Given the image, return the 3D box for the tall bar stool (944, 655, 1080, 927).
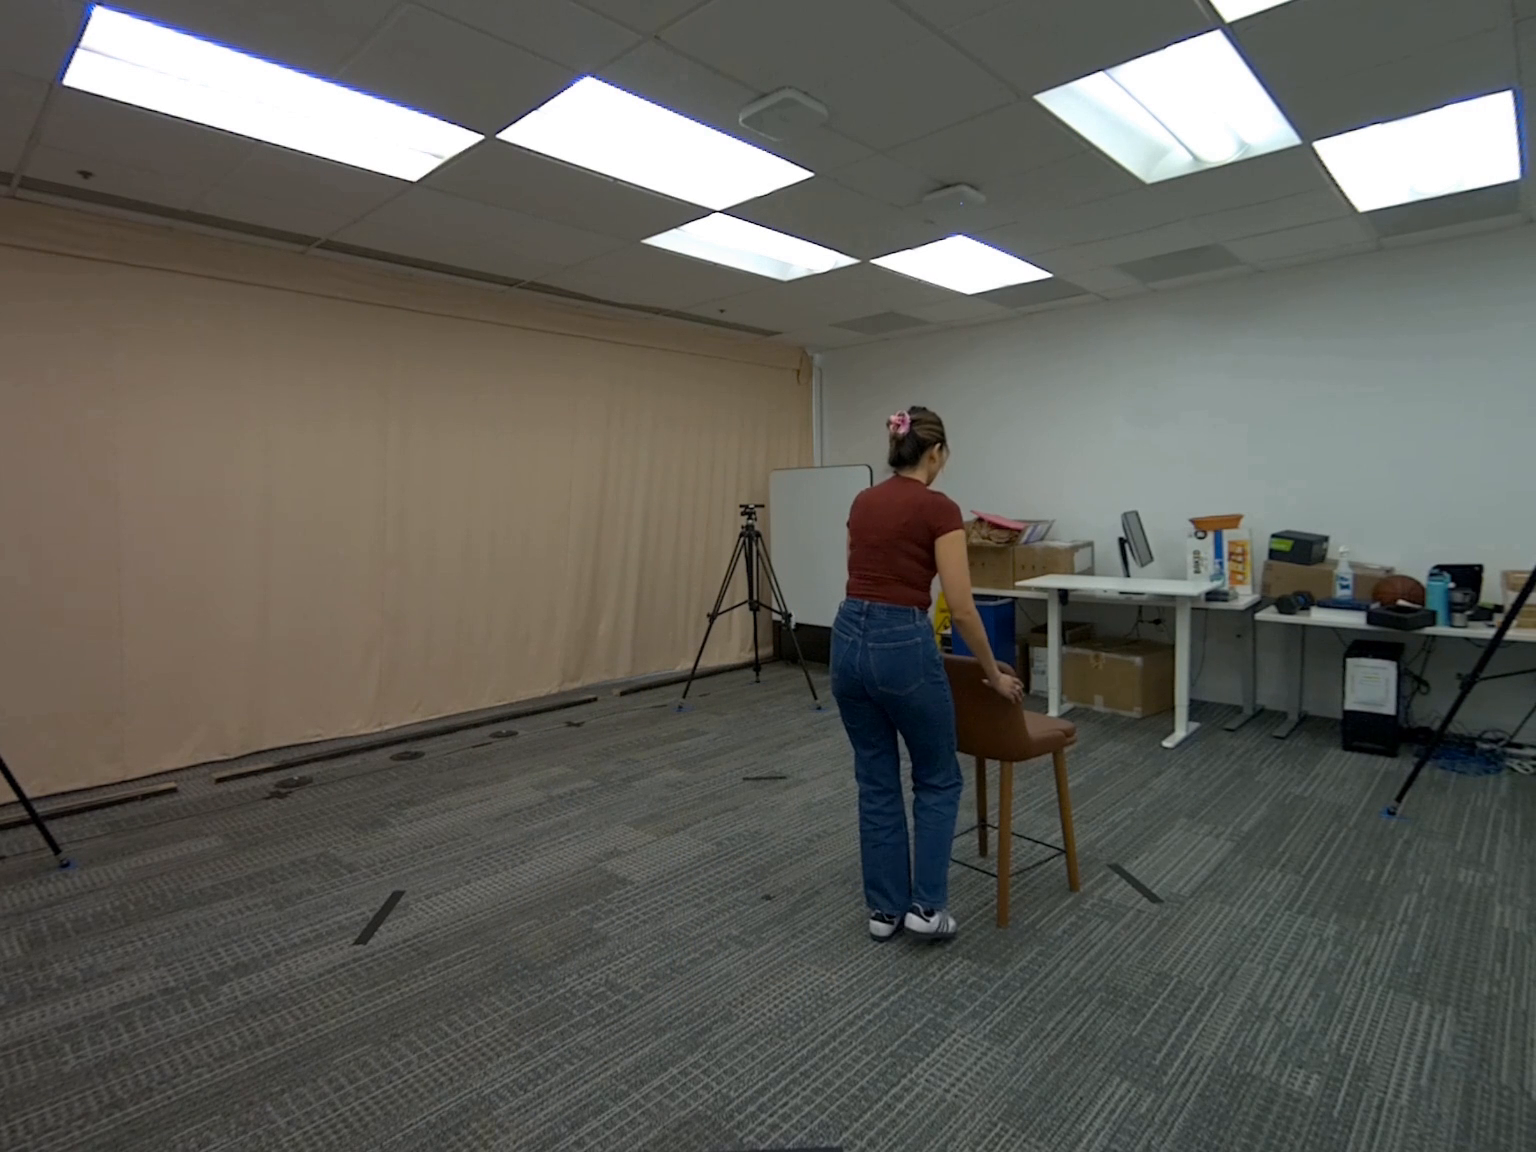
[{"bbox_3d":[0.798,0.688,2.995,0.454,0.887,0.471,-6,6,-39],"label":"tall bar stool"}]
